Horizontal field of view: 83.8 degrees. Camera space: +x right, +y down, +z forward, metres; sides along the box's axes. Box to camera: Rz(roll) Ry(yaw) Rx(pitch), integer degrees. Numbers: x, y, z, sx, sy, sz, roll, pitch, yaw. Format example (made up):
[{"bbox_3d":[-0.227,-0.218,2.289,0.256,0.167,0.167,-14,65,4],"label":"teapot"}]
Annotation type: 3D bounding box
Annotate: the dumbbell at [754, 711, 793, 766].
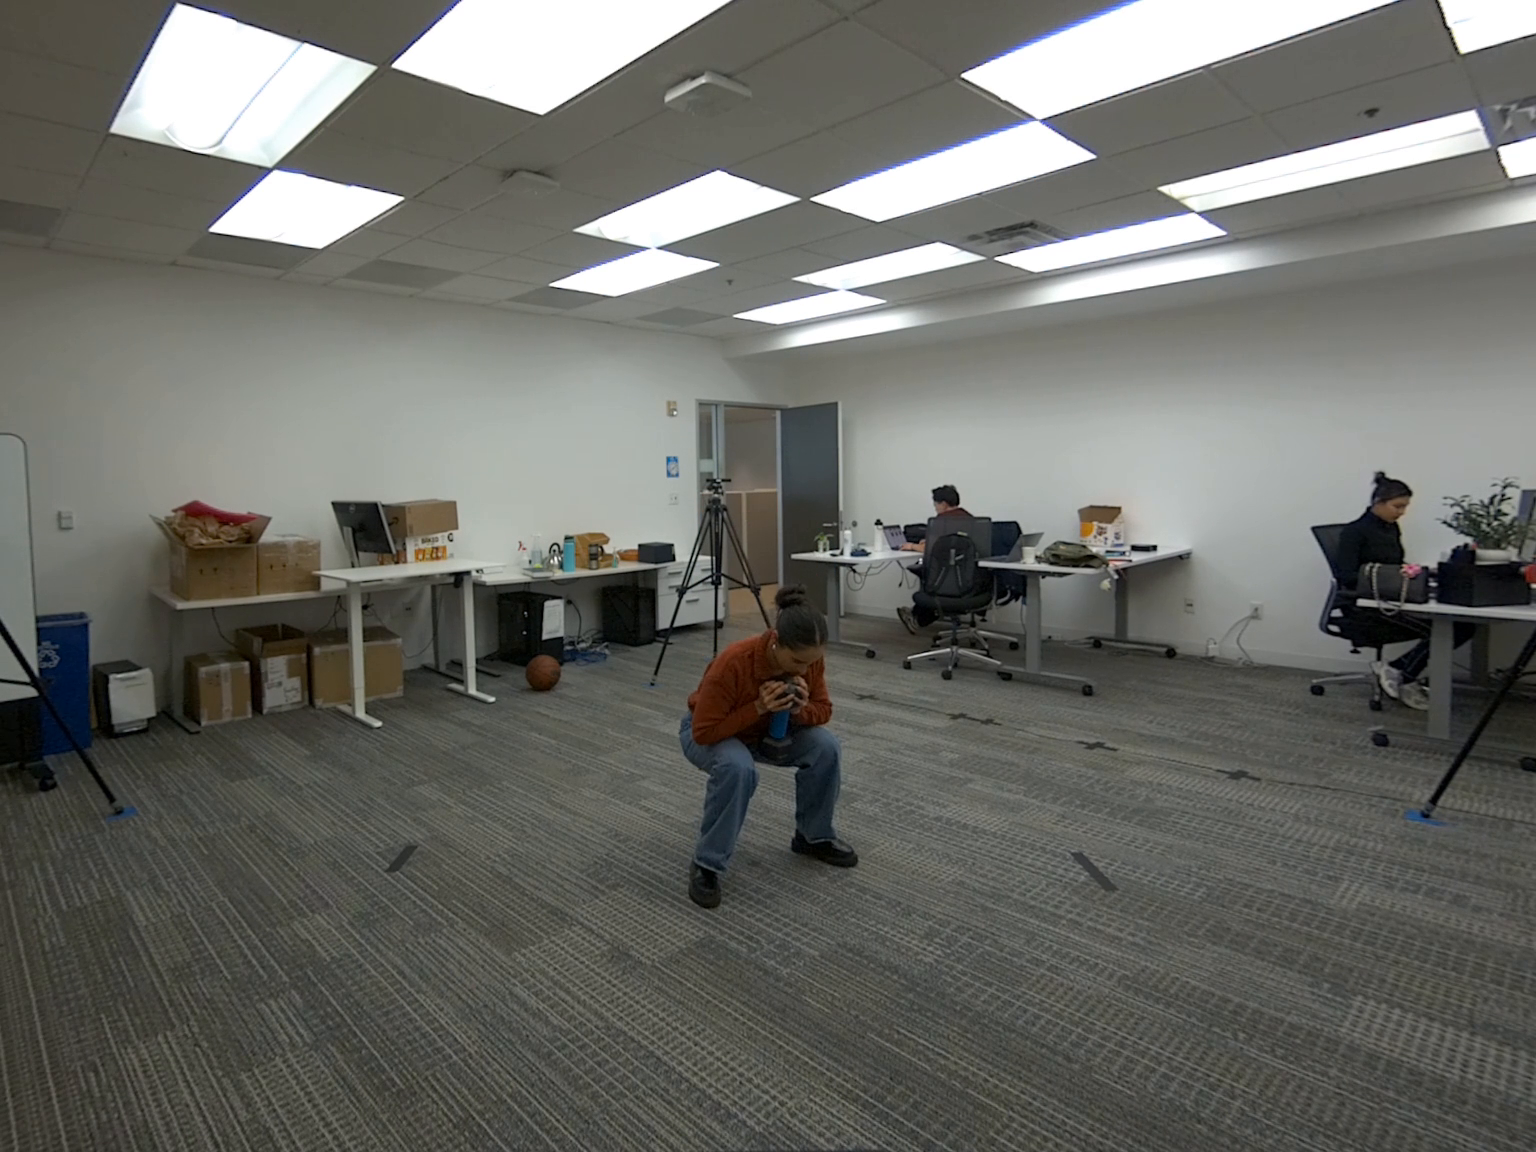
[{"bbox_3d":[0.024,0.473,2.932,0.120,0.288,0.113,-14,31,-35],"label":"dumbbell"}]
